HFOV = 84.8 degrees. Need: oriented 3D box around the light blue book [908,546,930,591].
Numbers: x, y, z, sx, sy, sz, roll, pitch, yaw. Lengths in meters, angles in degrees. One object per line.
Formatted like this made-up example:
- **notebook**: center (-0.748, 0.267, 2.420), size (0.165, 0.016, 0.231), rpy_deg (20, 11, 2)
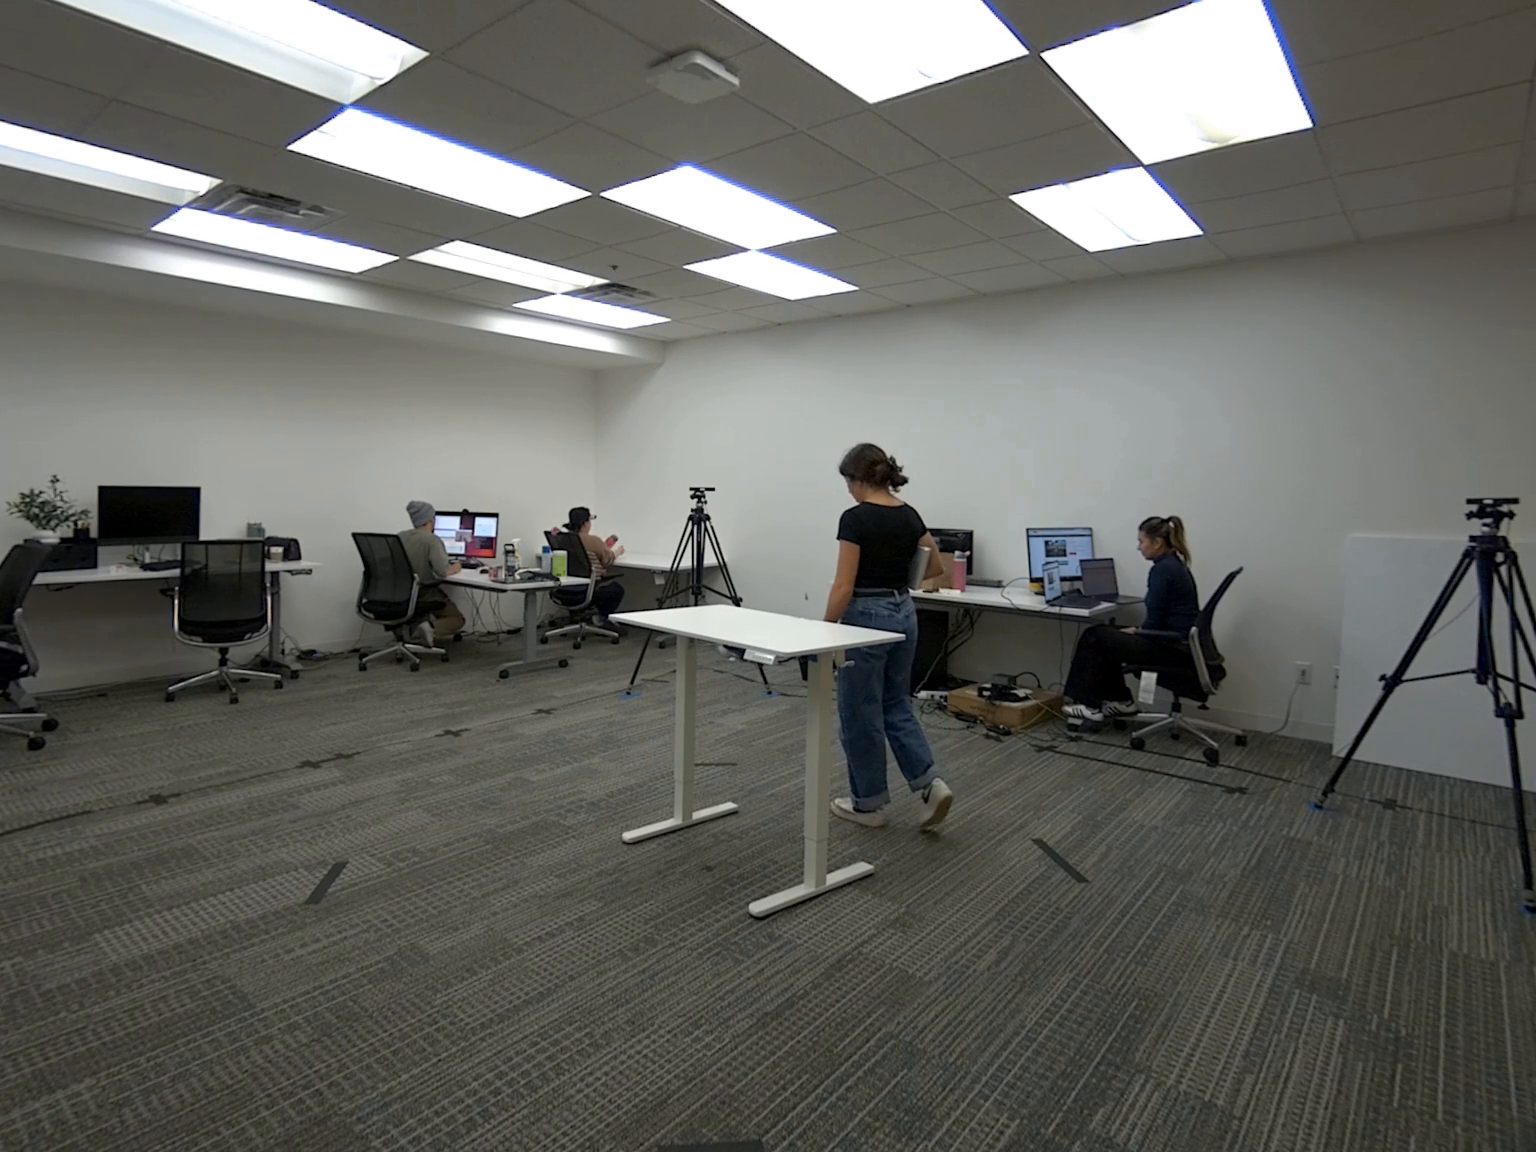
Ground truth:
- **light blue book**: center (0.535, -0.076, 3.615), size (0.271, 0.189, 0.057), rpy_deg (24, 22, 36)
